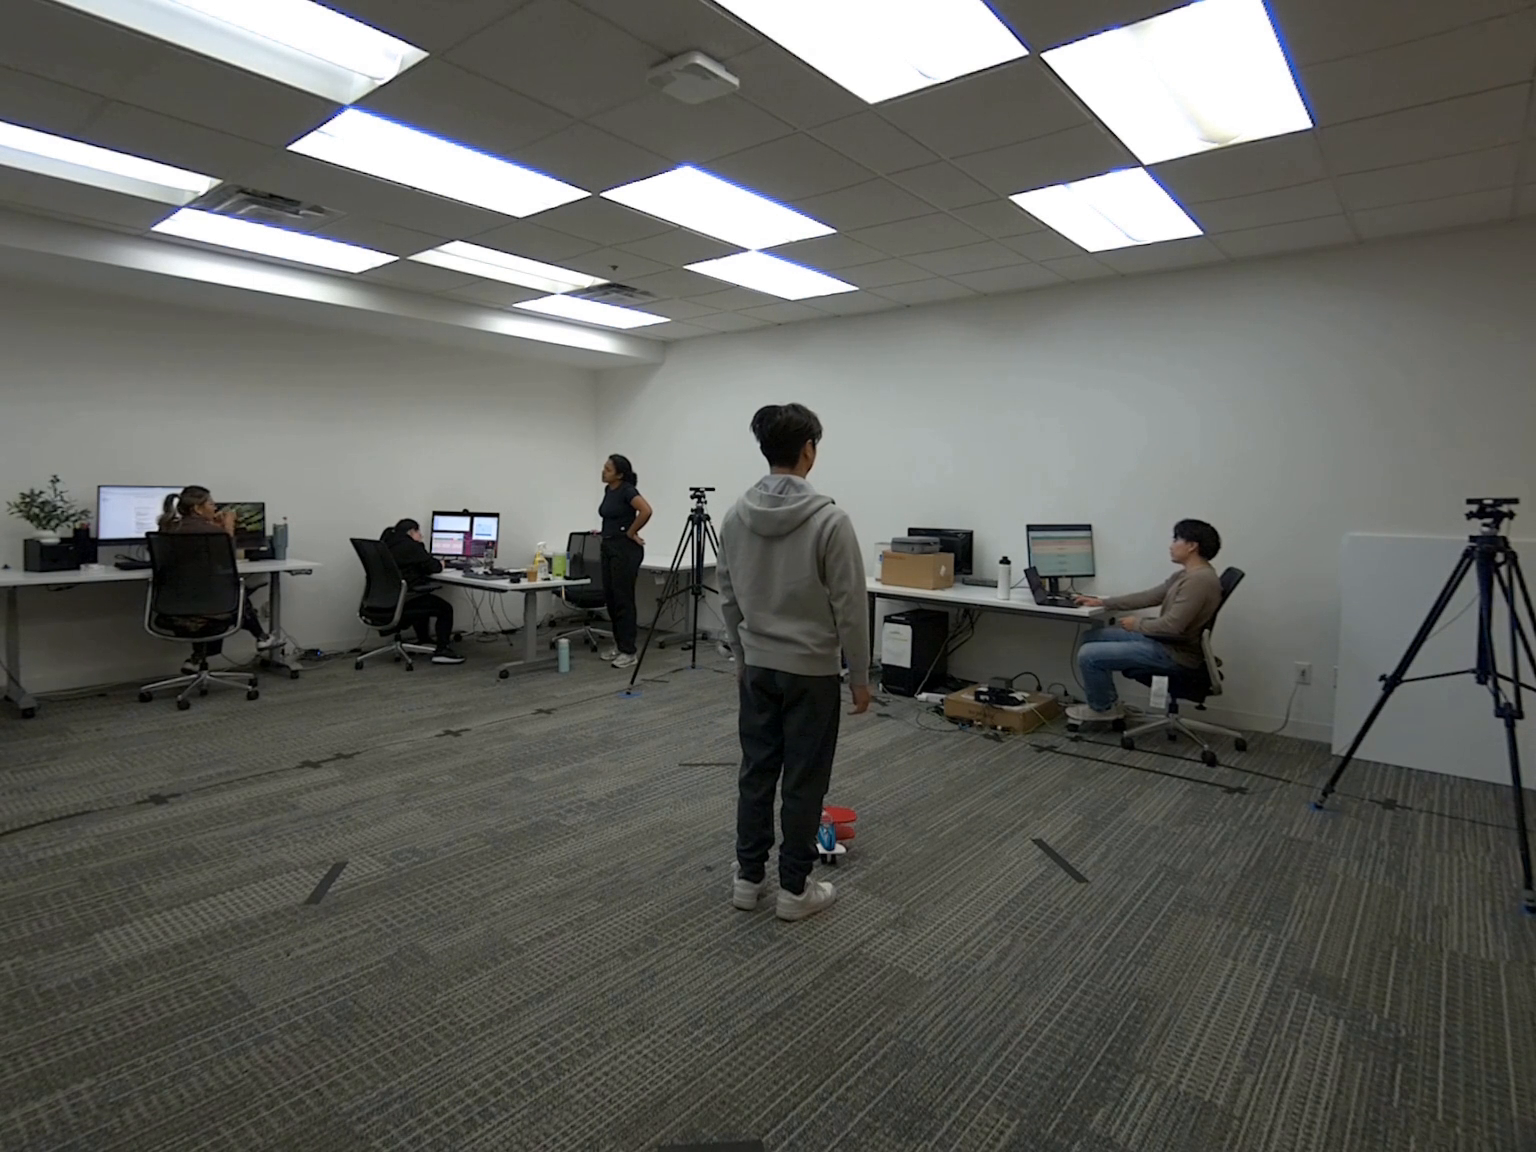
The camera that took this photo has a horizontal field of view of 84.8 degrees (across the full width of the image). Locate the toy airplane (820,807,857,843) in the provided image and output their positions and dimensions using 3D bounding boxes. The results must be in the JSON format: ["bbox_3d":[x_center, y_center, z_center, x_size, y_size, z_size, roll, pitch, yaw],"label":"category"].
[{"bbox_3d":[0.229,0.981,3.269,0.244,0.156,0.267,-2,6,-32],"label":"toy airplane"}]
